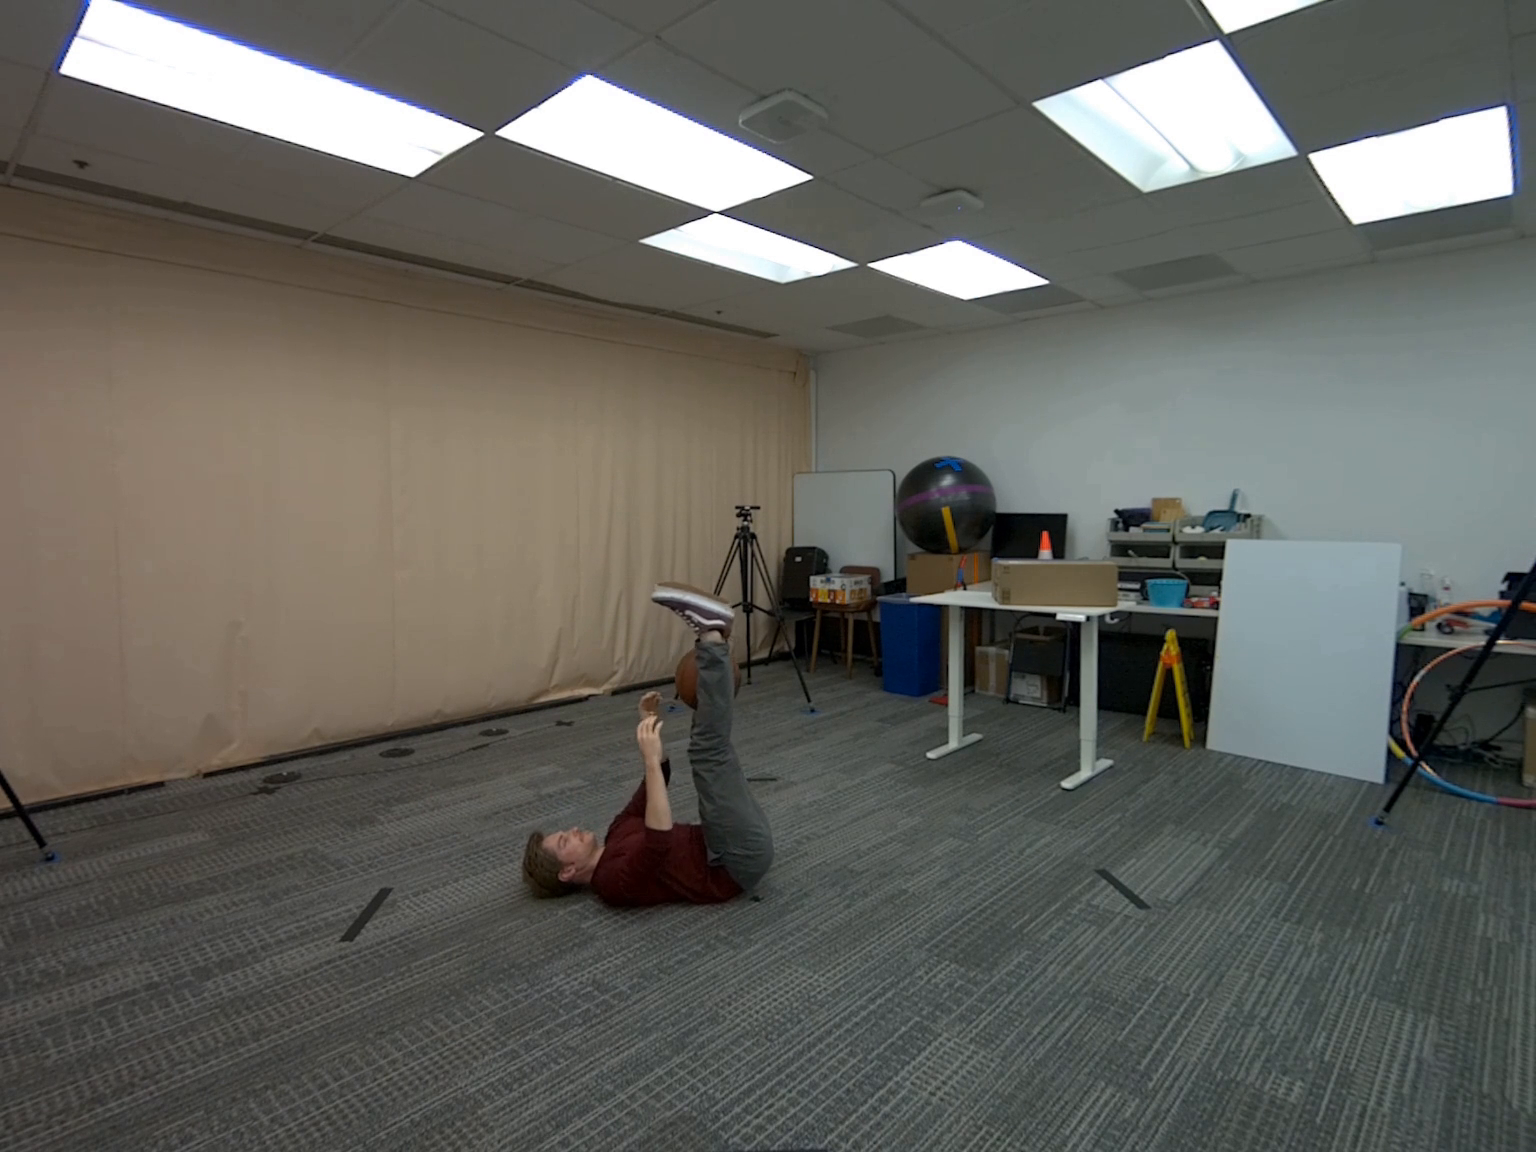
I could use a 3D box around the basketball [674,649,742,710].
[{"bbox_3d":[-0.207,0.368,3.032,0.236,0.235,0.237,0,4,-2],"label":"basketball"}]
